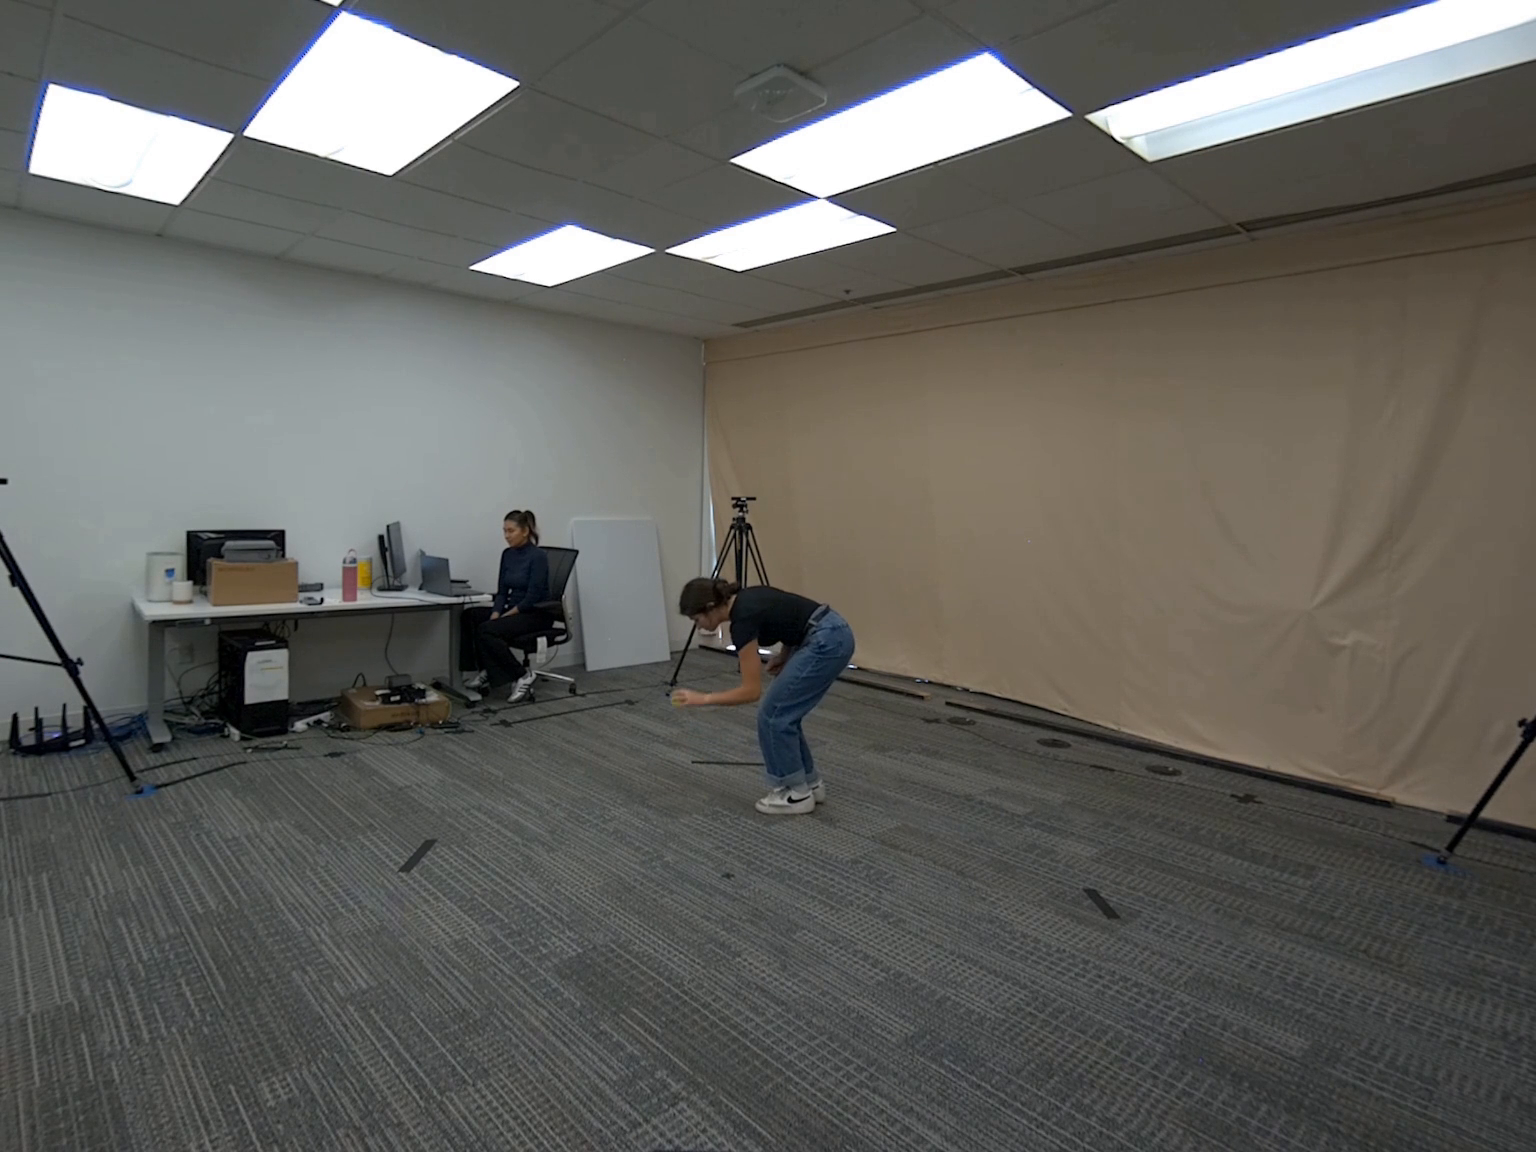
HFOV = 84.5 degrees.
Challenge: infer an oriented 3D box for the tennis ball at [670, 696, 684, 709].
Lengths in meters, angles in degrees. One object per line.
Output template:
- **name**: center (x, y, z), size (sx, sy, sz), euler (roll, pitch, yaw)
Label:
- **tennis ball**: center (-0.398, 0.595, 3.703), size (0.066, 0.066, 0.067), euler (1, 4, -1)
